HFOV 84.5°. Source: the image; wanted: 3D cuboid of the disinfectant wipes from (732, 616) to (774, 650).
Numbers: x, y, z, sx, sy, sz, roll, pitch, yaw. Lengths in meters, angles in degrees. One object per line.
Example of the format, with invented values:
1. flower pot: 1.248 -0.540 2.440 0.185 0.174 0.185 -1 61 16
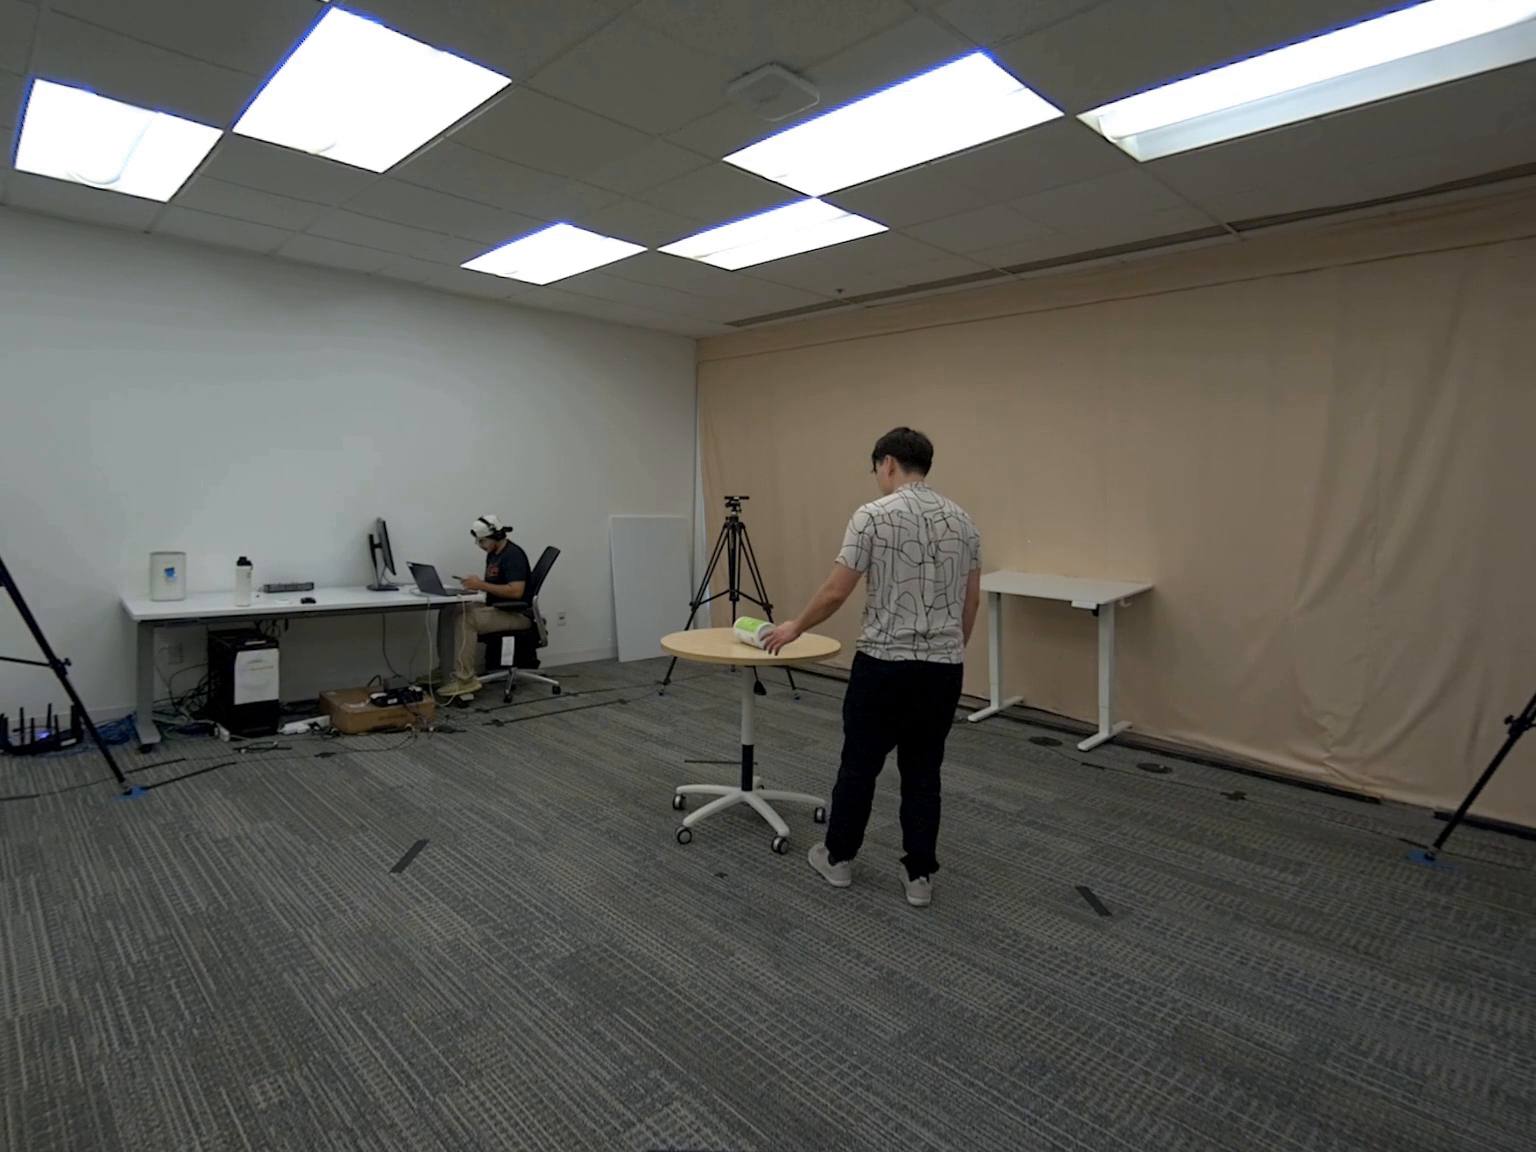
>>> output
1. disinfectant wipes: -0.056 0.233 3.489 0.115 0.117 0.222 -1 5 -28
